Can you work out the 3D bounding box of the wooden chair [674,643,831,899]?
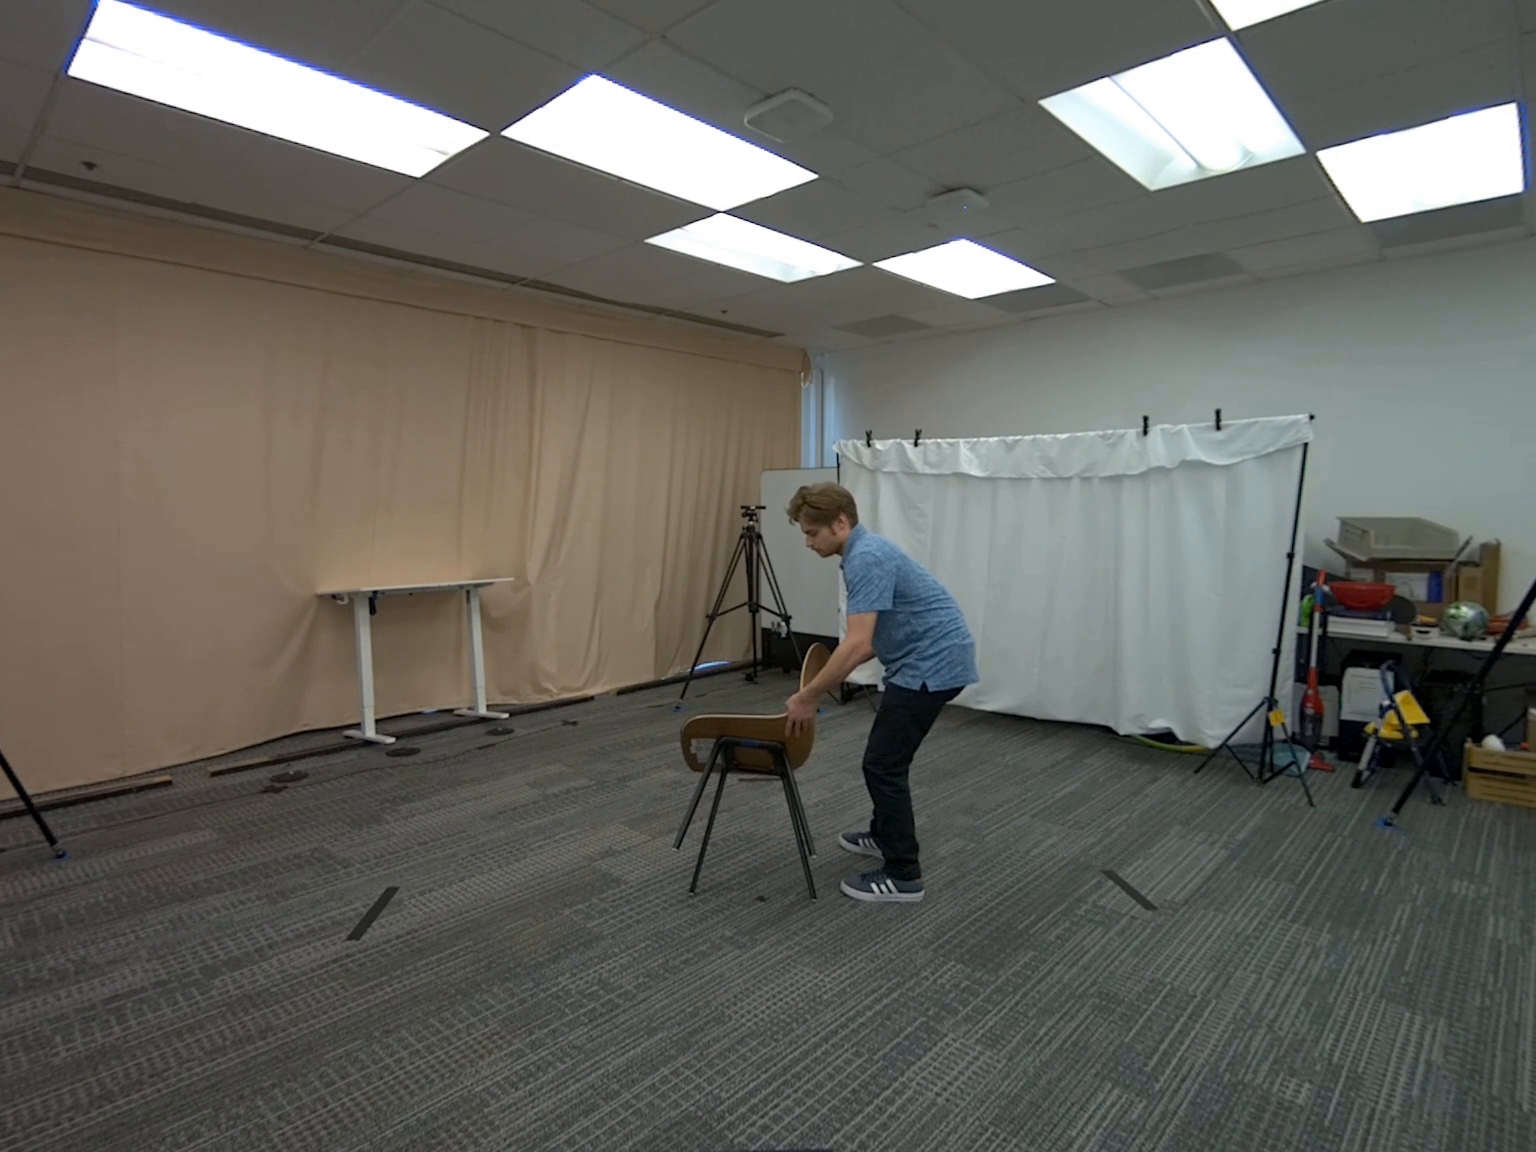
[{"bbox_3d":[-0.053,0.676,3.081,0.528,0.888,0.467,3,-37,8],"label":"wooden chair"}]
